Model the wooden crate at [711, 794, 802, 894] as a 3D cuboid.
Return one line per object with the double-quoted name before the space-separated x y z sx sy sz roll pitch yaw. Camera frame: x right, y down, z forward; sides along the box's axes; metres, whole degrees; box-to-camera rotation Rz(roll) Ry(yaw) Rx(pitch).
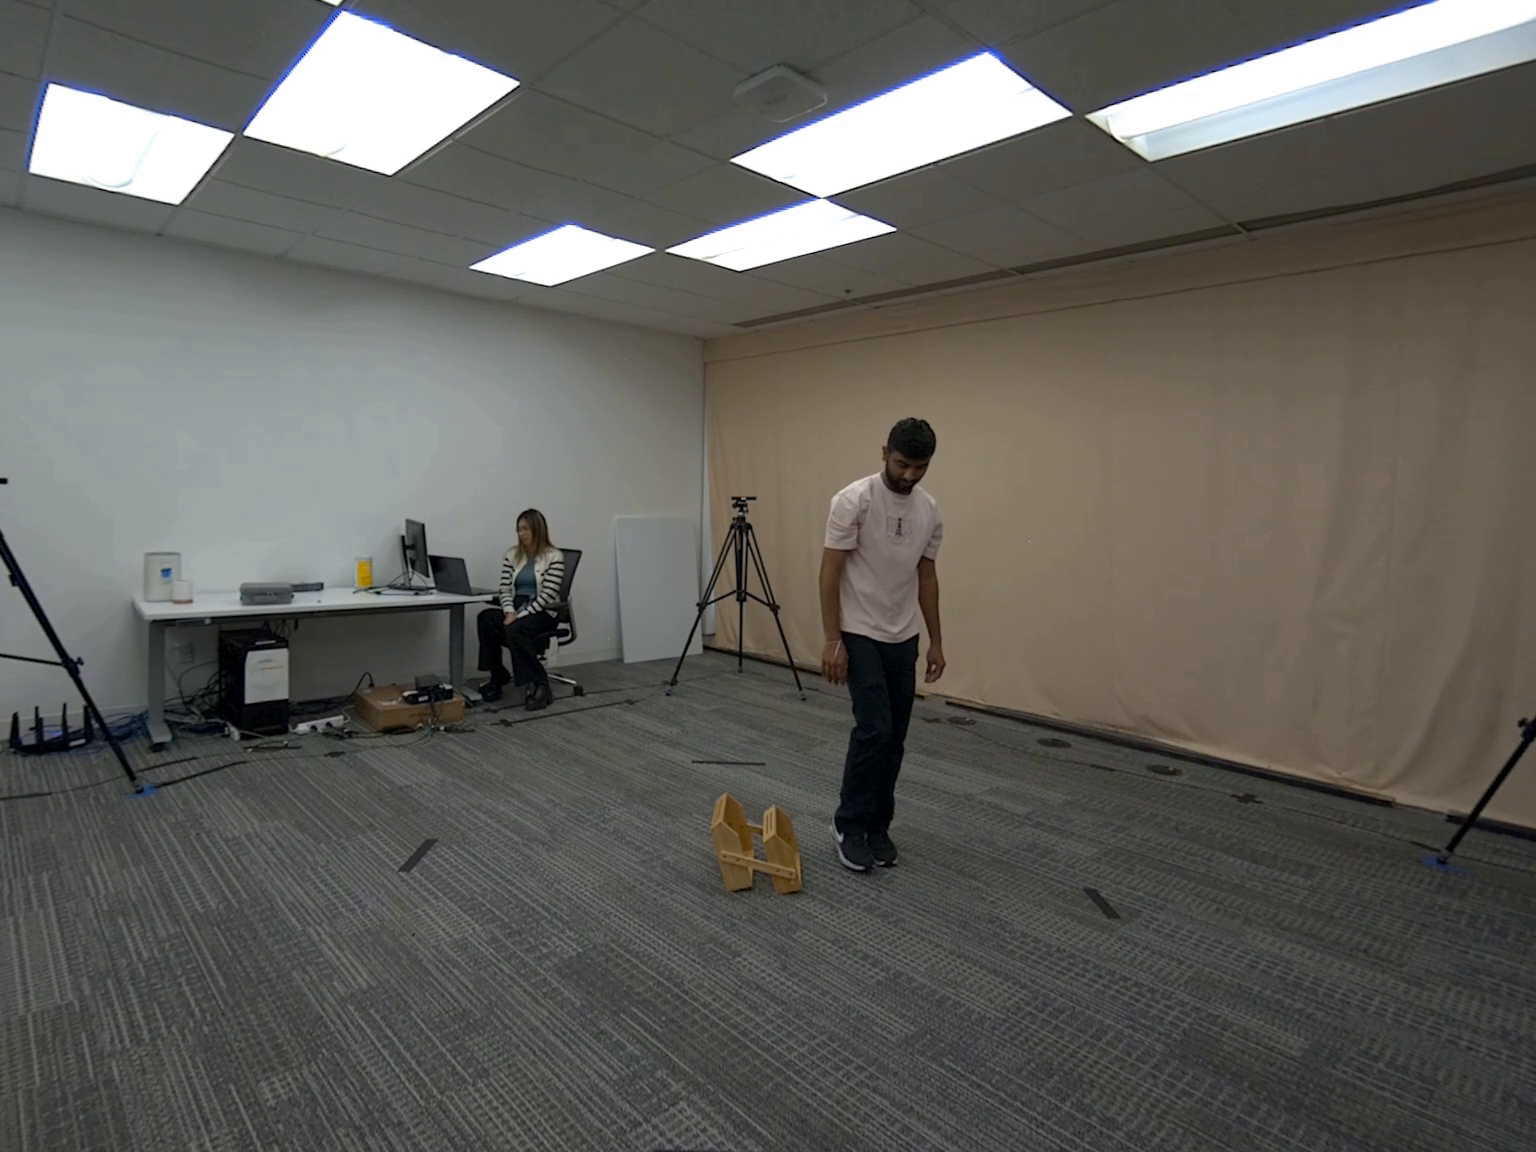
"wooden crate" -0.047 0.975 3.108 0.274 0.301 0.324 -16 3 3
